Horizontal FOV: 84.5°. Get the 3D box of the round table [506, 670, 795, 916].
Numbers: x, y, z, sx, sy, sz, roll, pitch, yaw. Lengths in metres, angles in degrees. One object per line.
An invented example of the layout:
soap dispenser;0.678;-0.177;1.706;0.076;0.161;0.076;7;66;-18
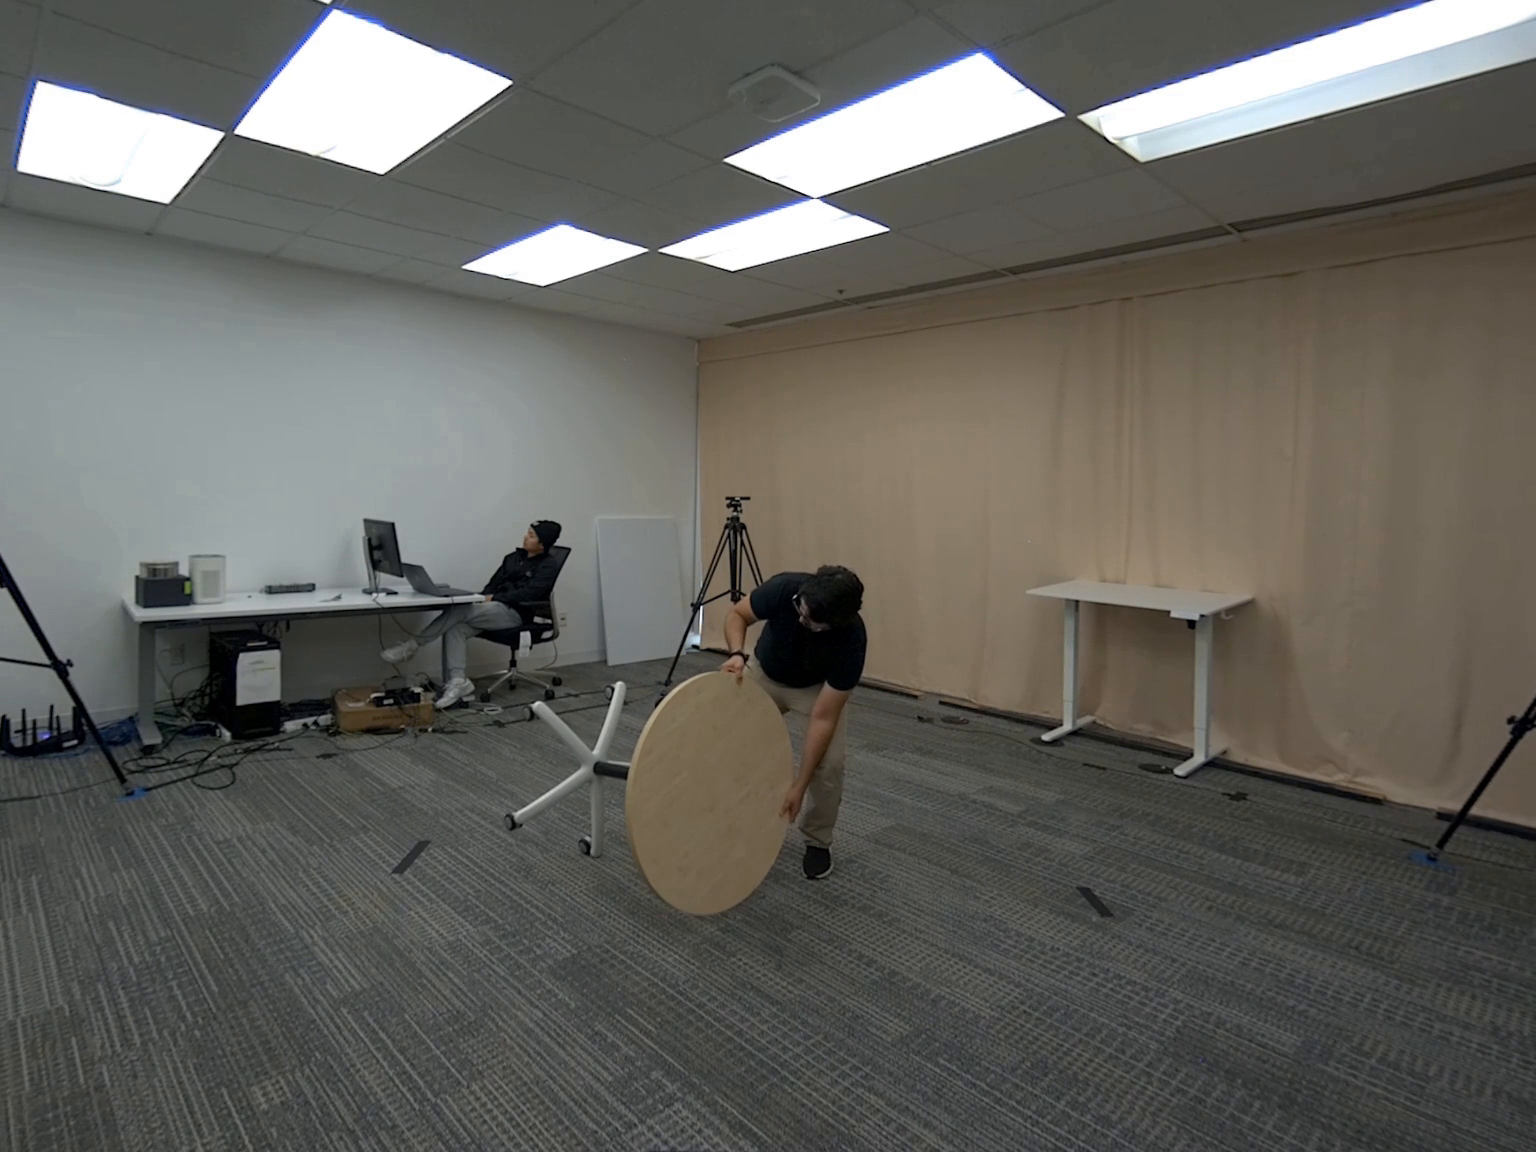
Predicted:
round table;-0.460;0.711;3.022;0.803;0.786;0.767;-4;-1;41
